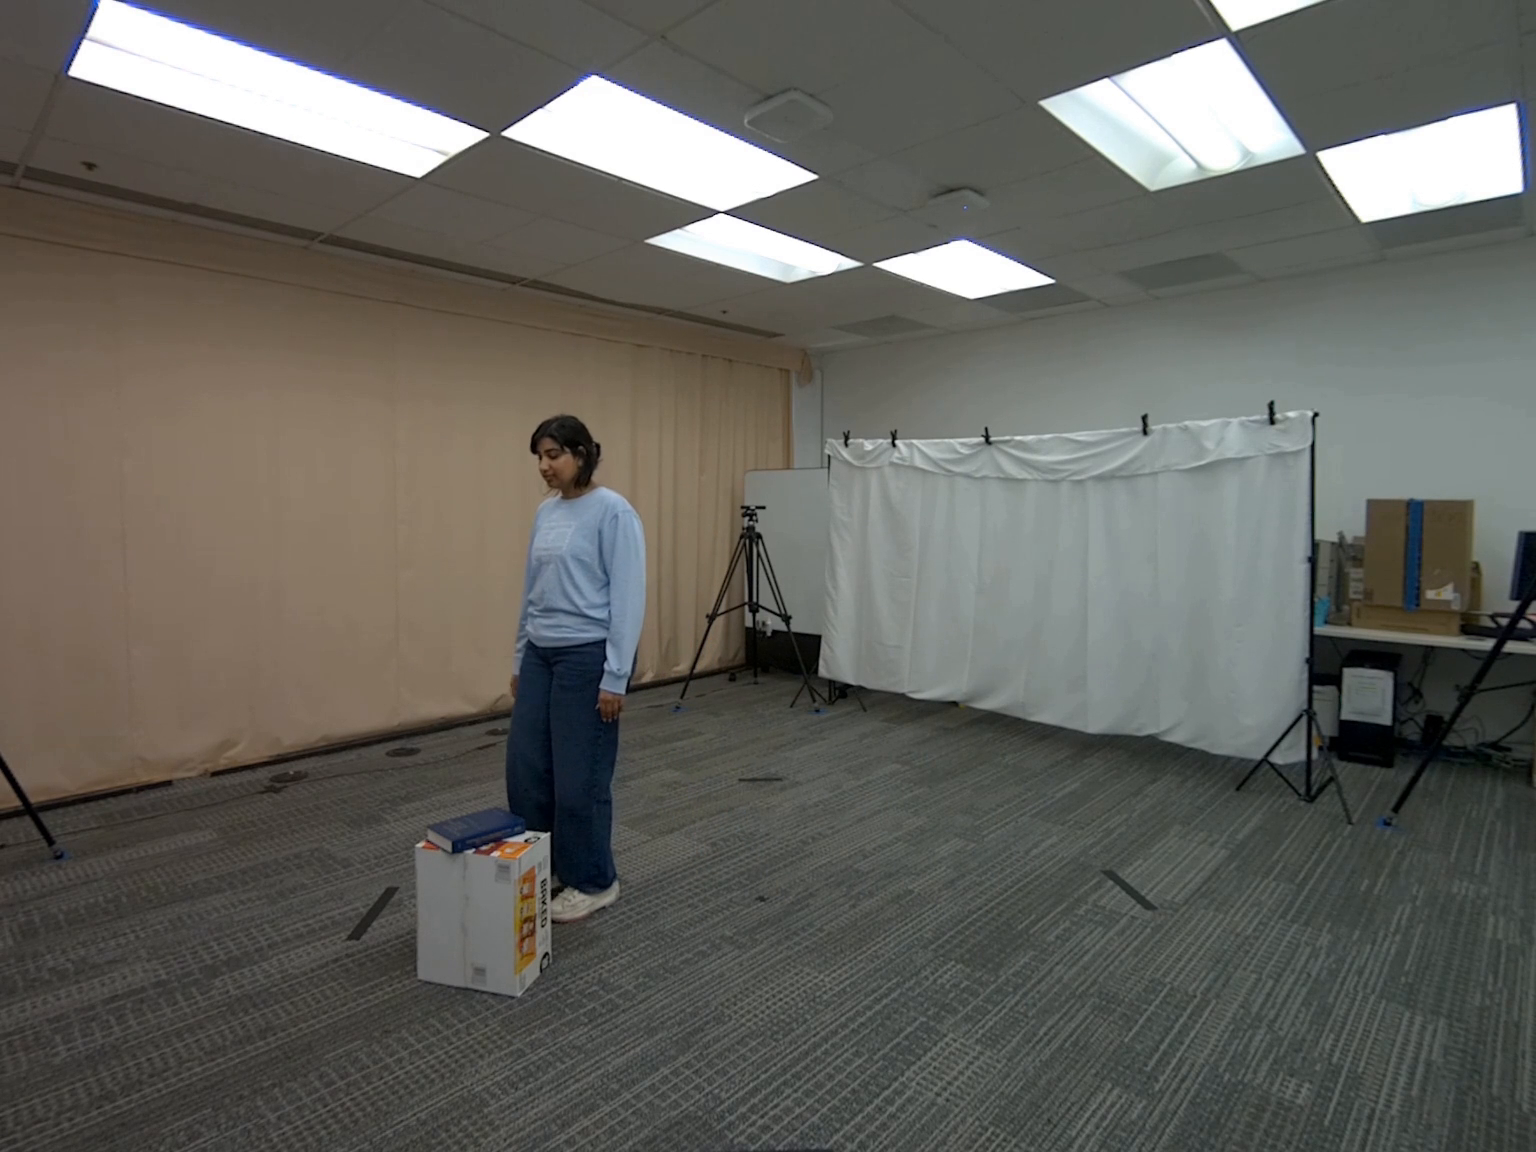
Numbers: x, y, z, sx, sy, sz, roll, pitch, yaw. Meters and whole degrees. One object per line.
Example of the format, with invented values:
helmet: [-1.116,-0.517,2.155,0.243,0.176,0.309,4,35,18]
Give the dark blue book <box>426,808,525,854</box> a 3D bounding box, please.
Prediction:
dark blue book: [-0.876,0.758,2.534,0.169,0.045,0.237,3,5,42]
